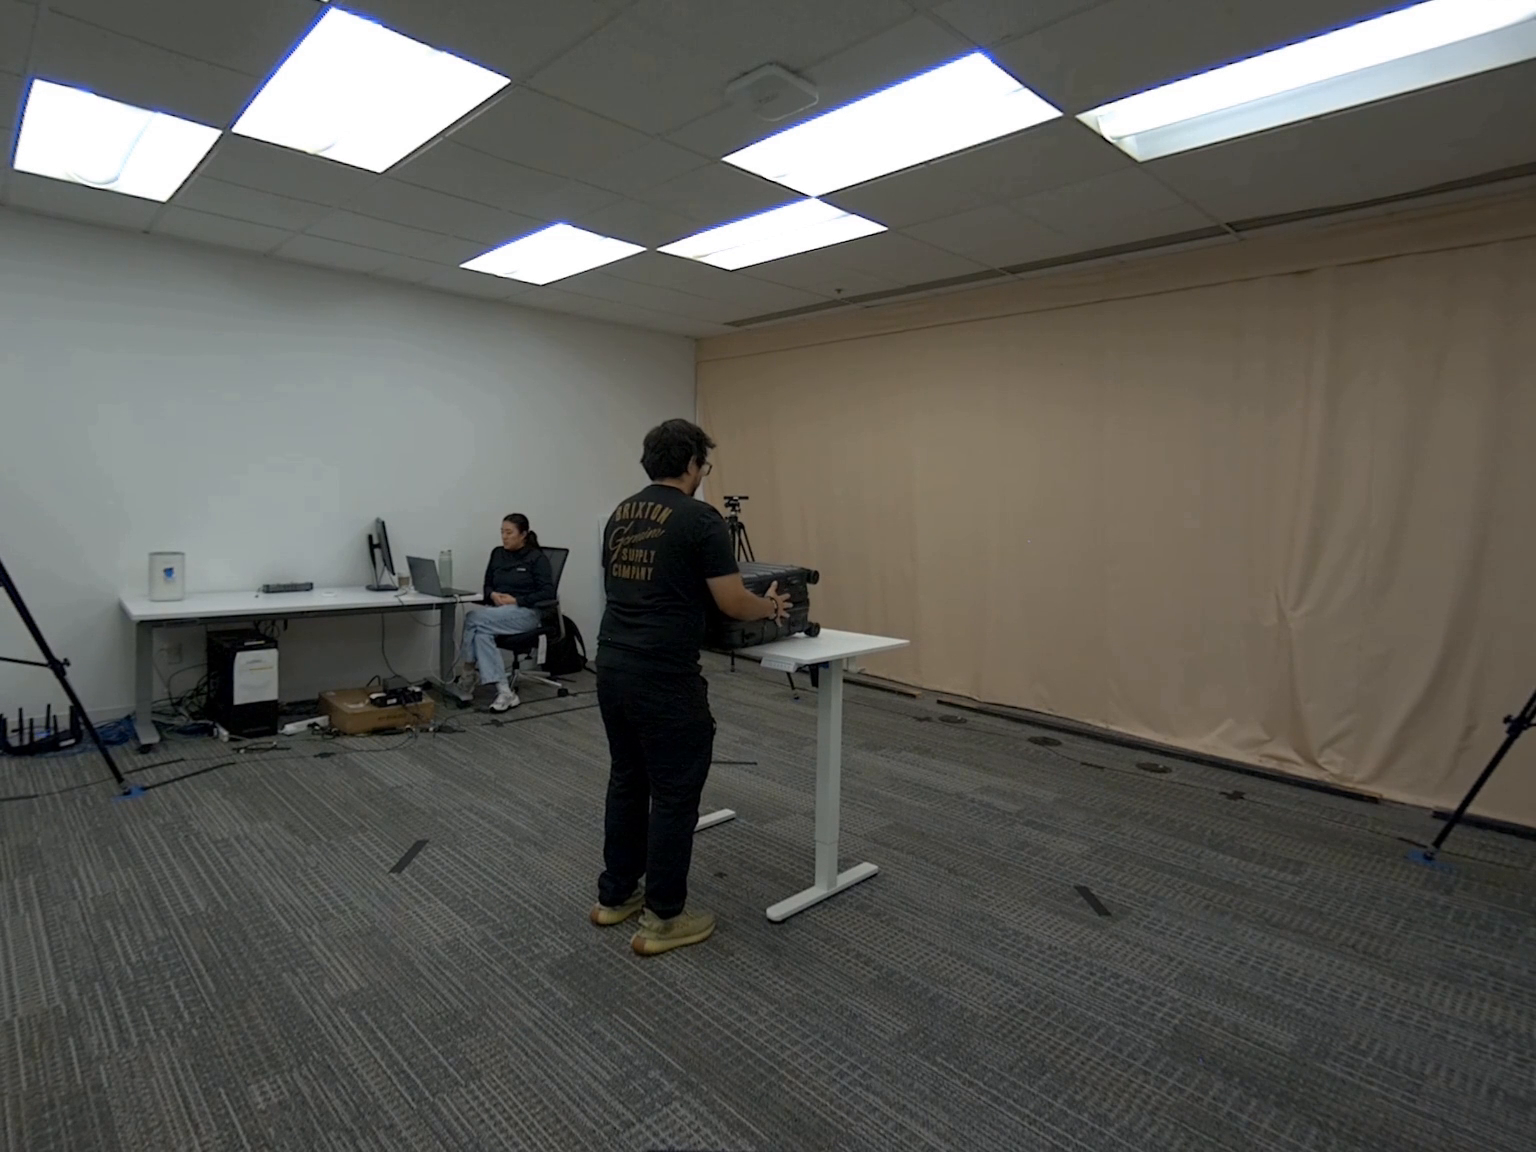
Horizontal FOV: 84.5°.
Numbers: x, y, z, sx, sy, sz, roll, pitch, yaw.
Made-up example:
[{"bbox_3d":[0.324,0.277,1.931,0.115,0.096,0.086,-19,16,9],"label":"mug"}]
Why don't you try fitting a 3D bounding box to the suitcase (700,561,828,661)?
[{"bbox_3d":[-0.108,0.103,3.011,0.385,0.247,0.538,5,8,40],"label":"suitcase"}]
